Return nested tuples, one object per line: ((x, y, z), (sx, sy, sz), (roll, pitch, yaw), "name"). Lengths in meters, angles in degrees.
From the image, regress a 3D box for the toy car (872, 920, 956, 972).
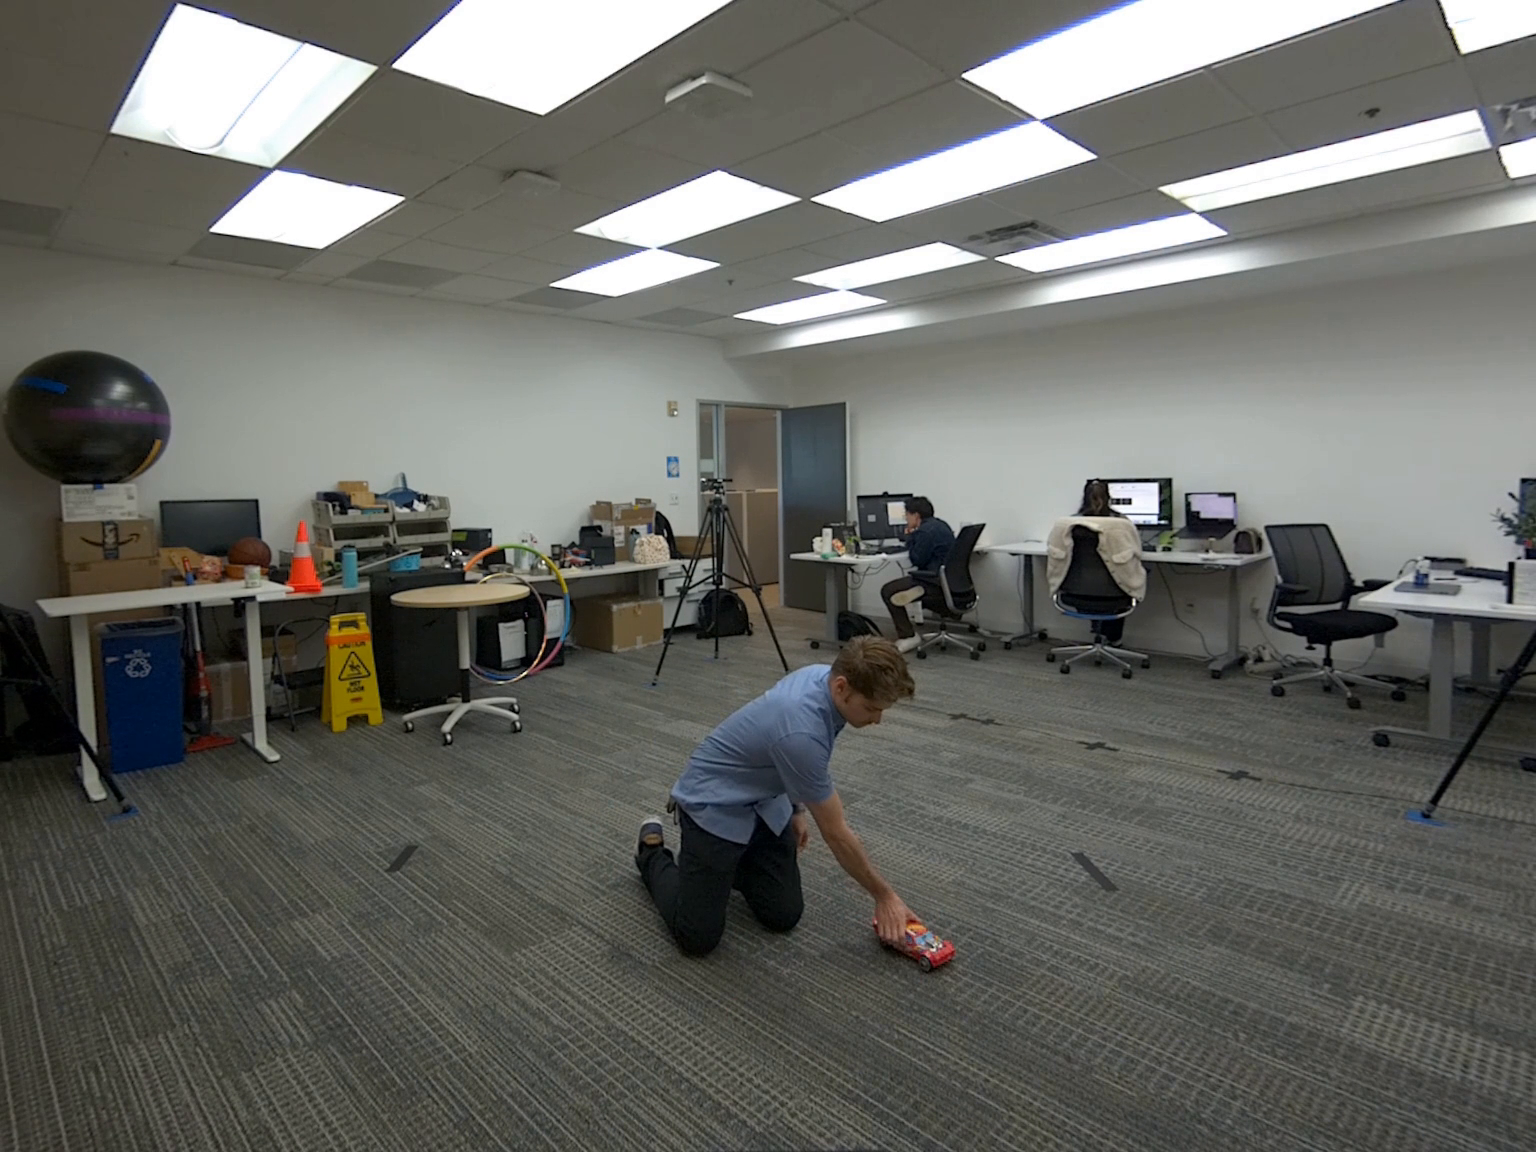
((0.426, 1.069, 2.525), (0.127, 0.082, 0.264), (-7, 18, -37), "toy car")
